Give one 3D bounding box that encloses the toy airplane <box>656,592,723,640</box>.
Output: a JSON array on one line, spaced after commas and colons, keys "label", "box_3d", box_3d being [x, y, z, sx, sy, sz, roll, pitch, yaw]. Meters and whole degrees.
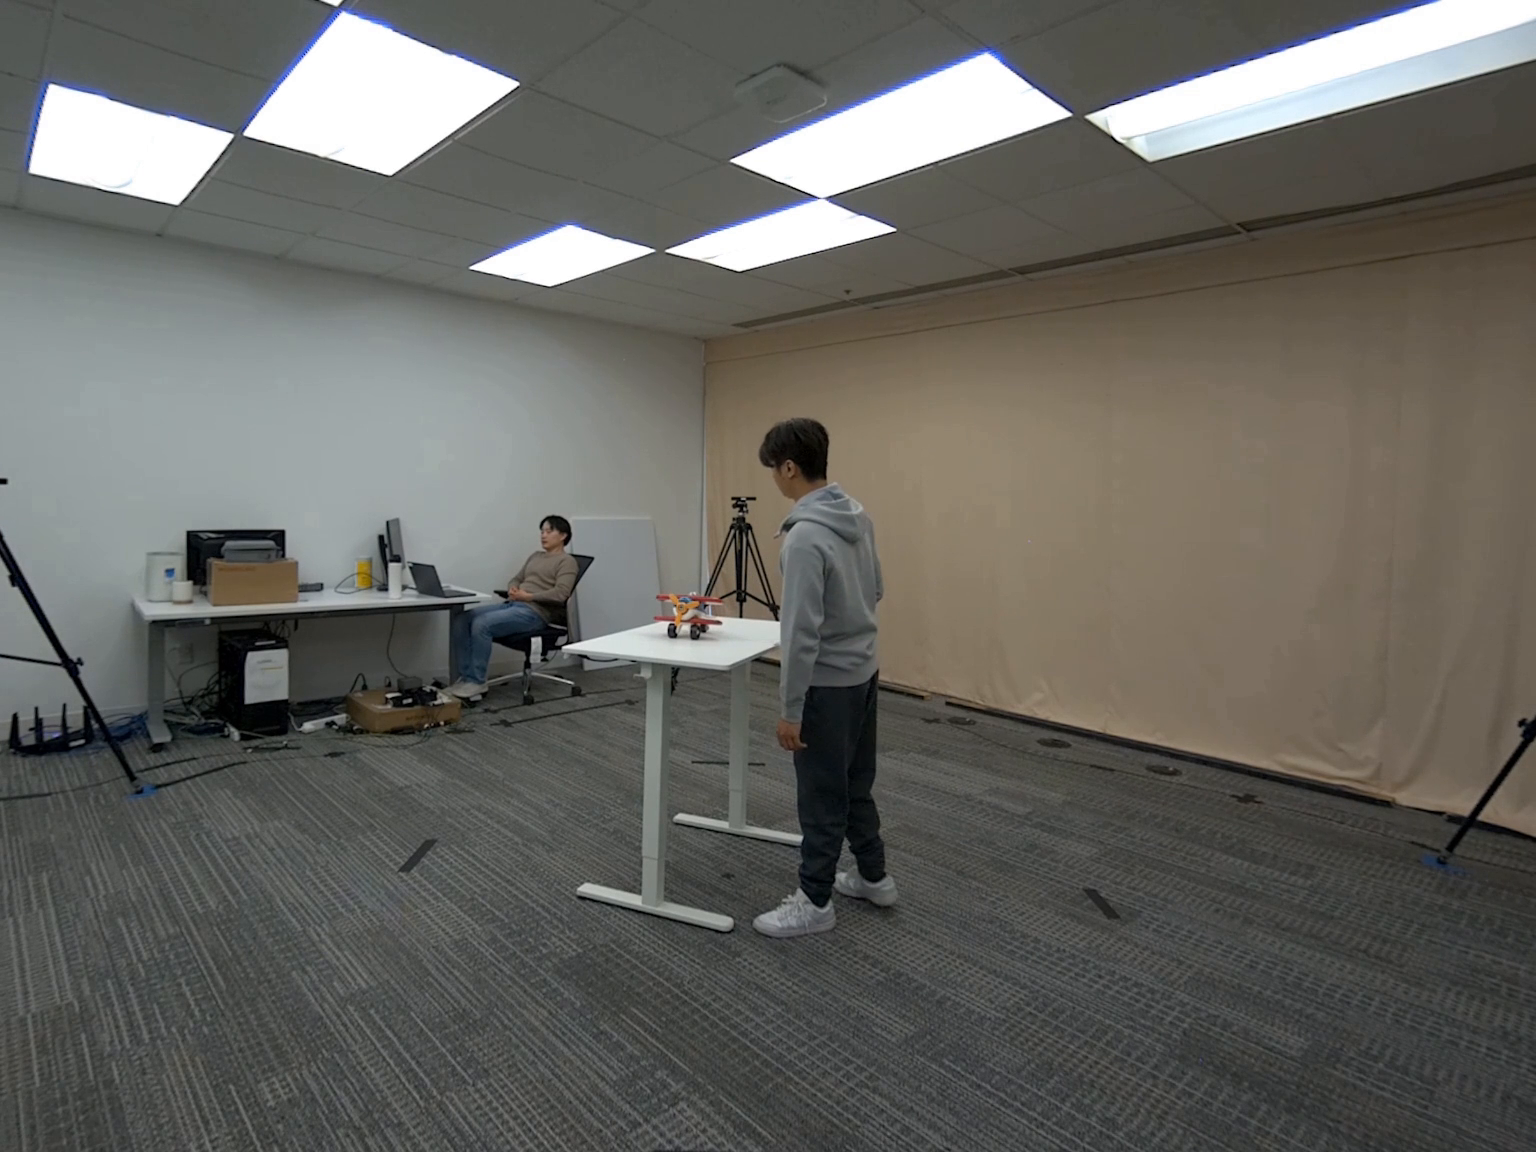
[{"label": "toy airplane", "box_3d": [-0.306, 0.144, 3.112, 0.248, 0.156, 0.263, 1, 4, -15]}]
